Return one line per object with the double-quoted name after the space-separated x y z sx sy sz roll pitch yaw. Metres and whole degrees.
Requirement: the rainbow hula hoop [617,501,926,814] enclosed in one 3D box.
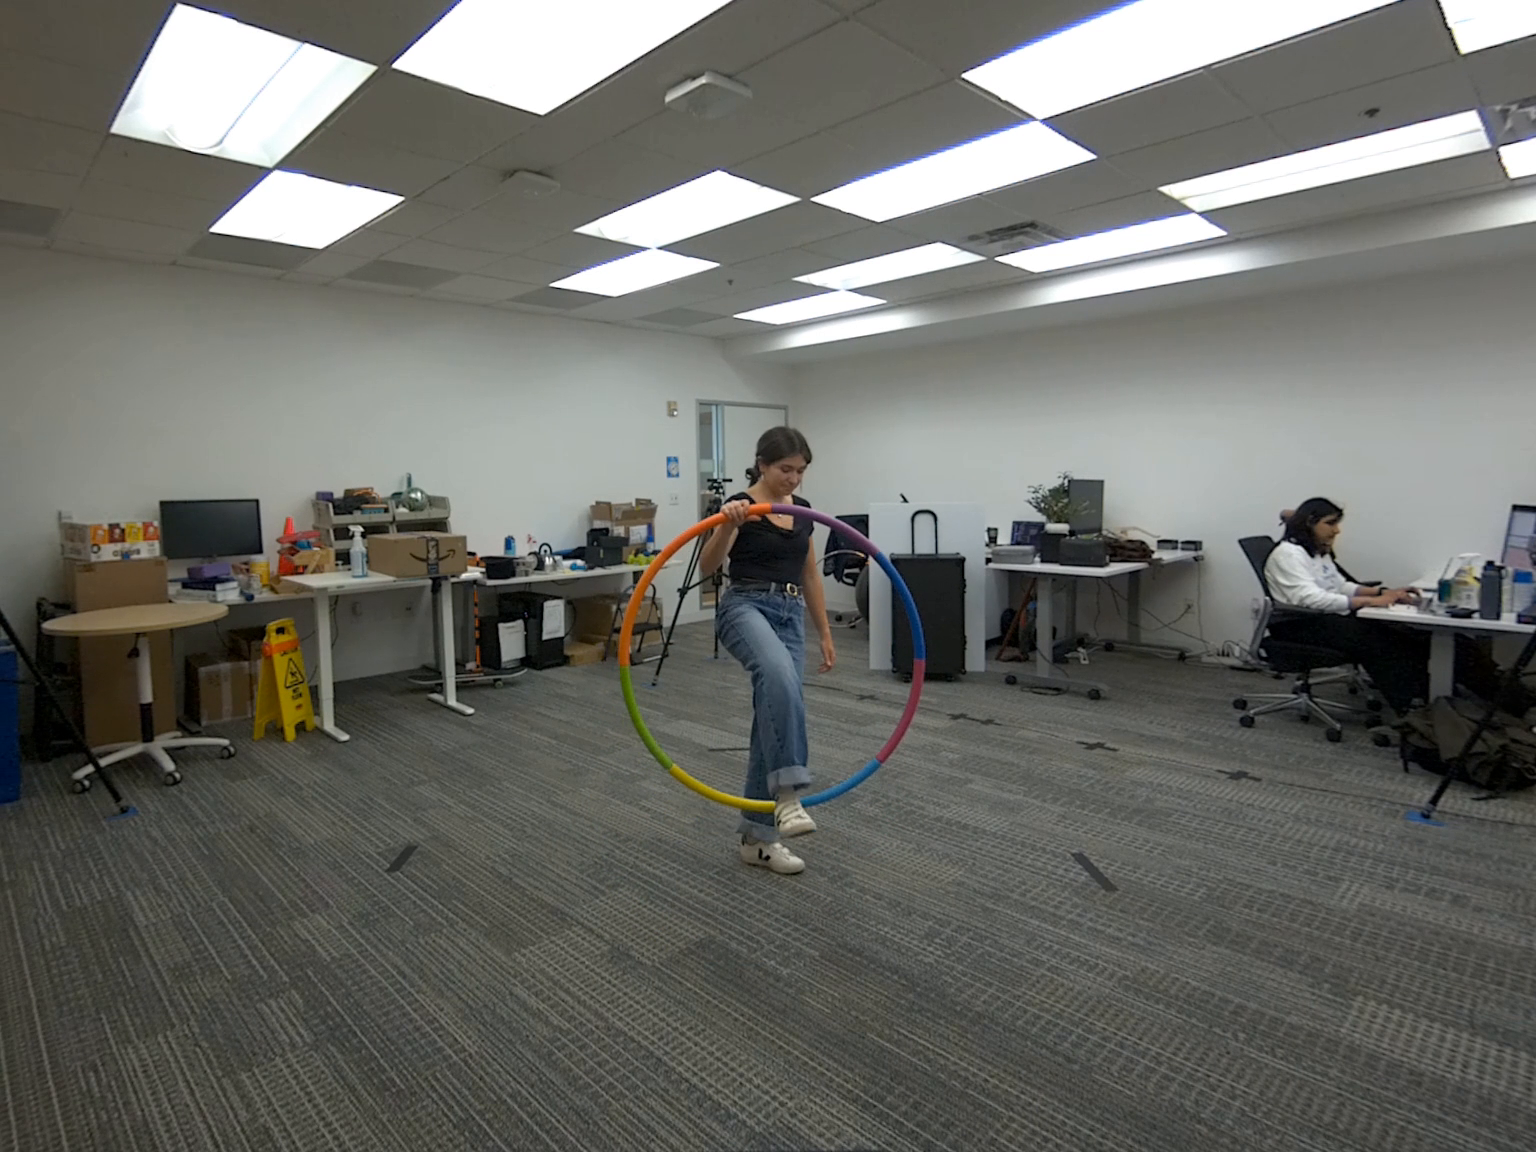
0.014 0.264 2.722 0.977 0.973 0.036 -1 6 -1 "rainbow hula hoop"
